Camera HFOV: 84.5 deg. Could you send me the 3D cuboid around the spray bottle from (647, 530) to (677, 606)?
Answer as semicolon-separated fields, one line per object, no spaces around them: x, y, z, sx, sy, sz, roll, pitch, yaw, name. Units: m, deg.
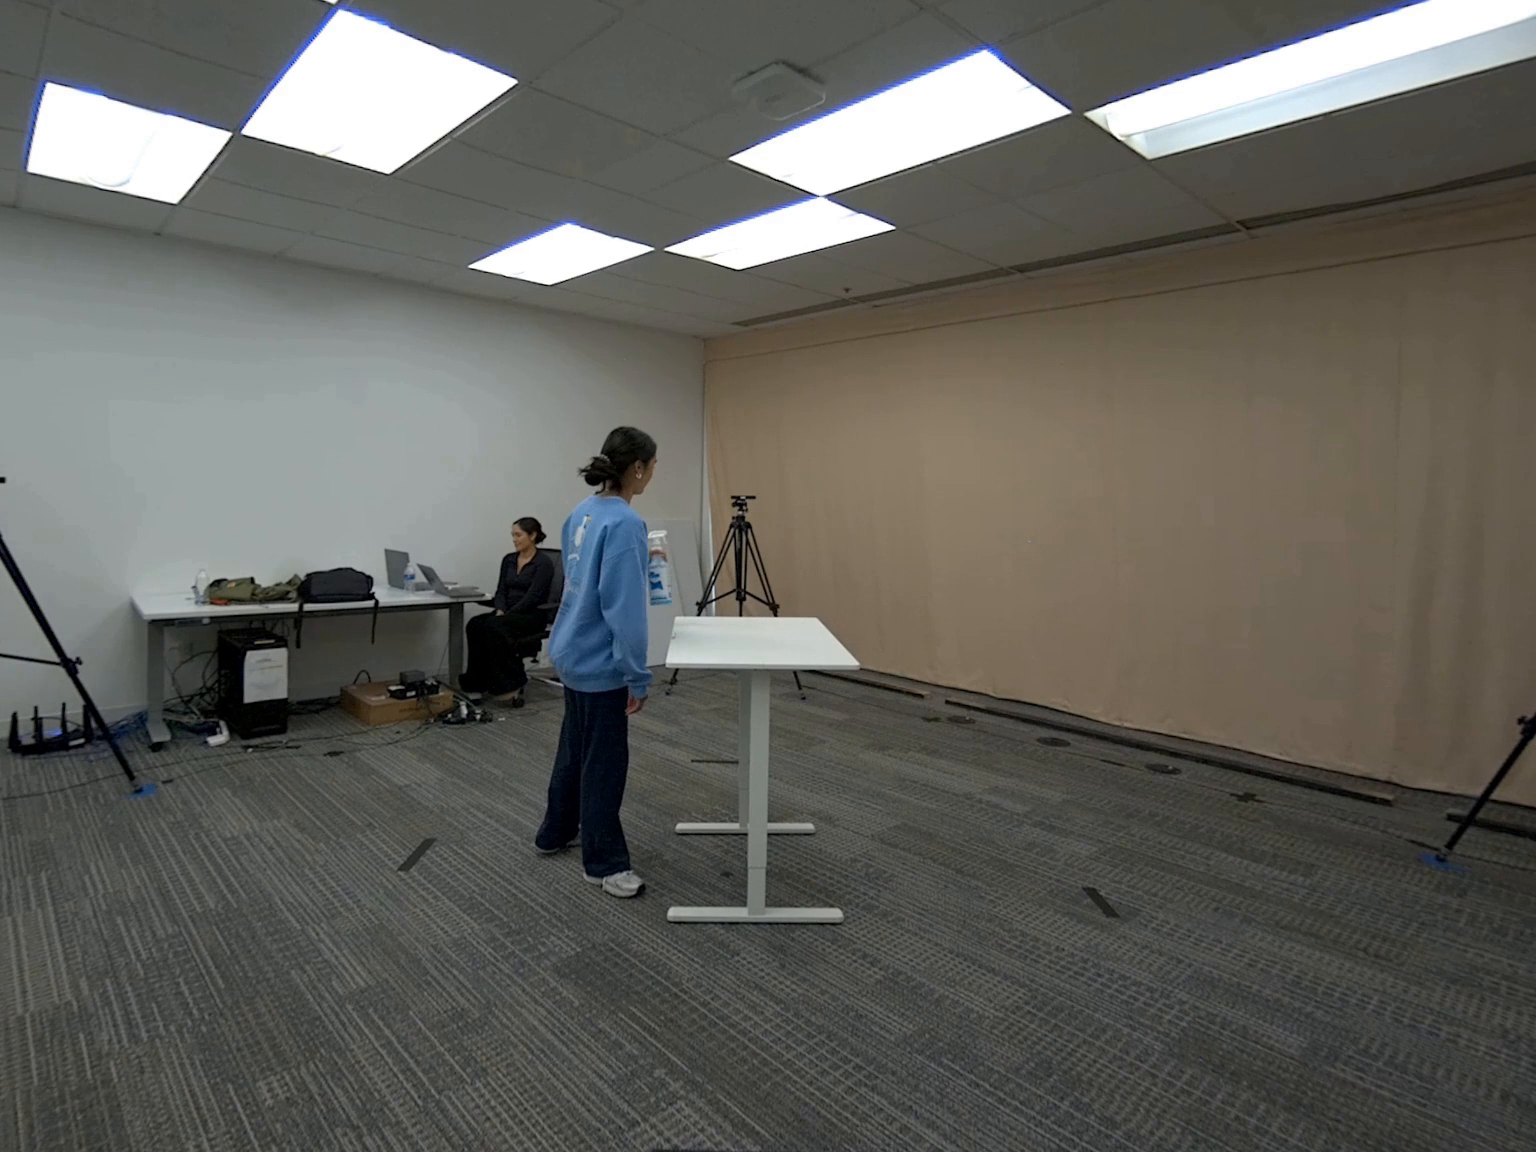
-0.443;-0.030;3.362;0.089;0.298;0.087;-4;-5;-13;spray bottle
